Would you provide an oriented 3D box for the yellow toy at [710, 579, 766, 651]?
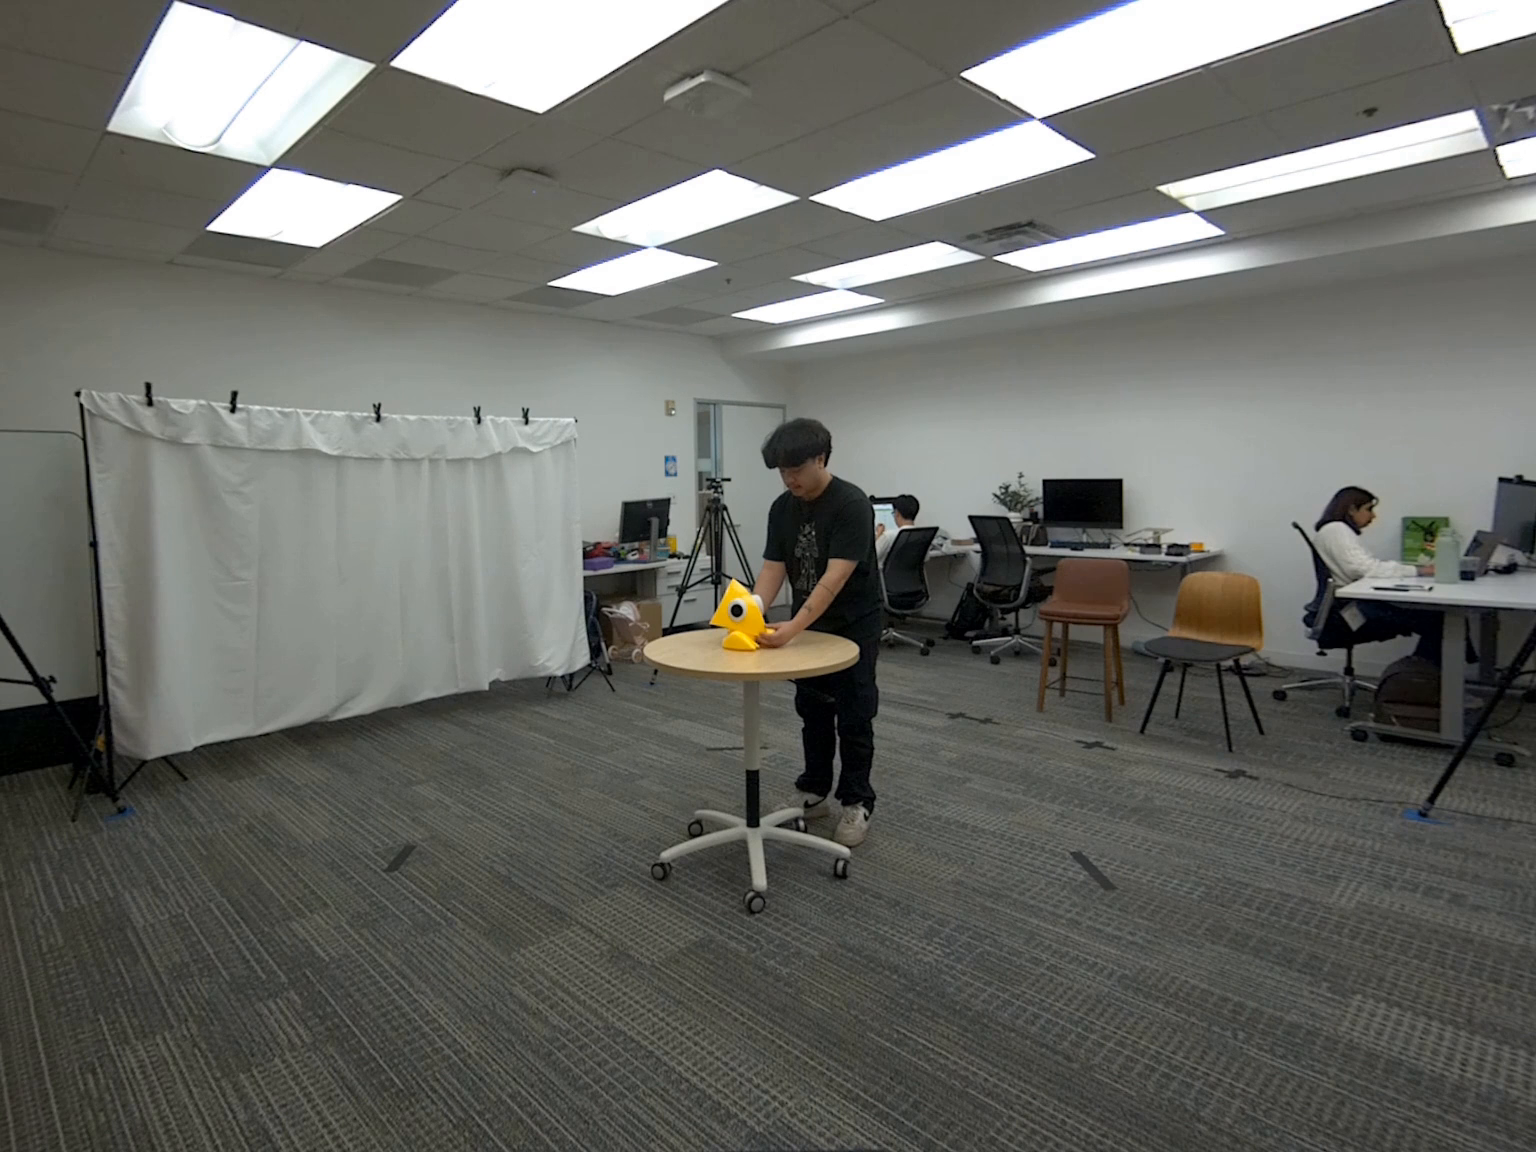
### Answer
[{"bbox_3d":[-0.070,0.128,3.071,0.199,0.229,0.200,3,8,43],"label":"yellow toy"}]
